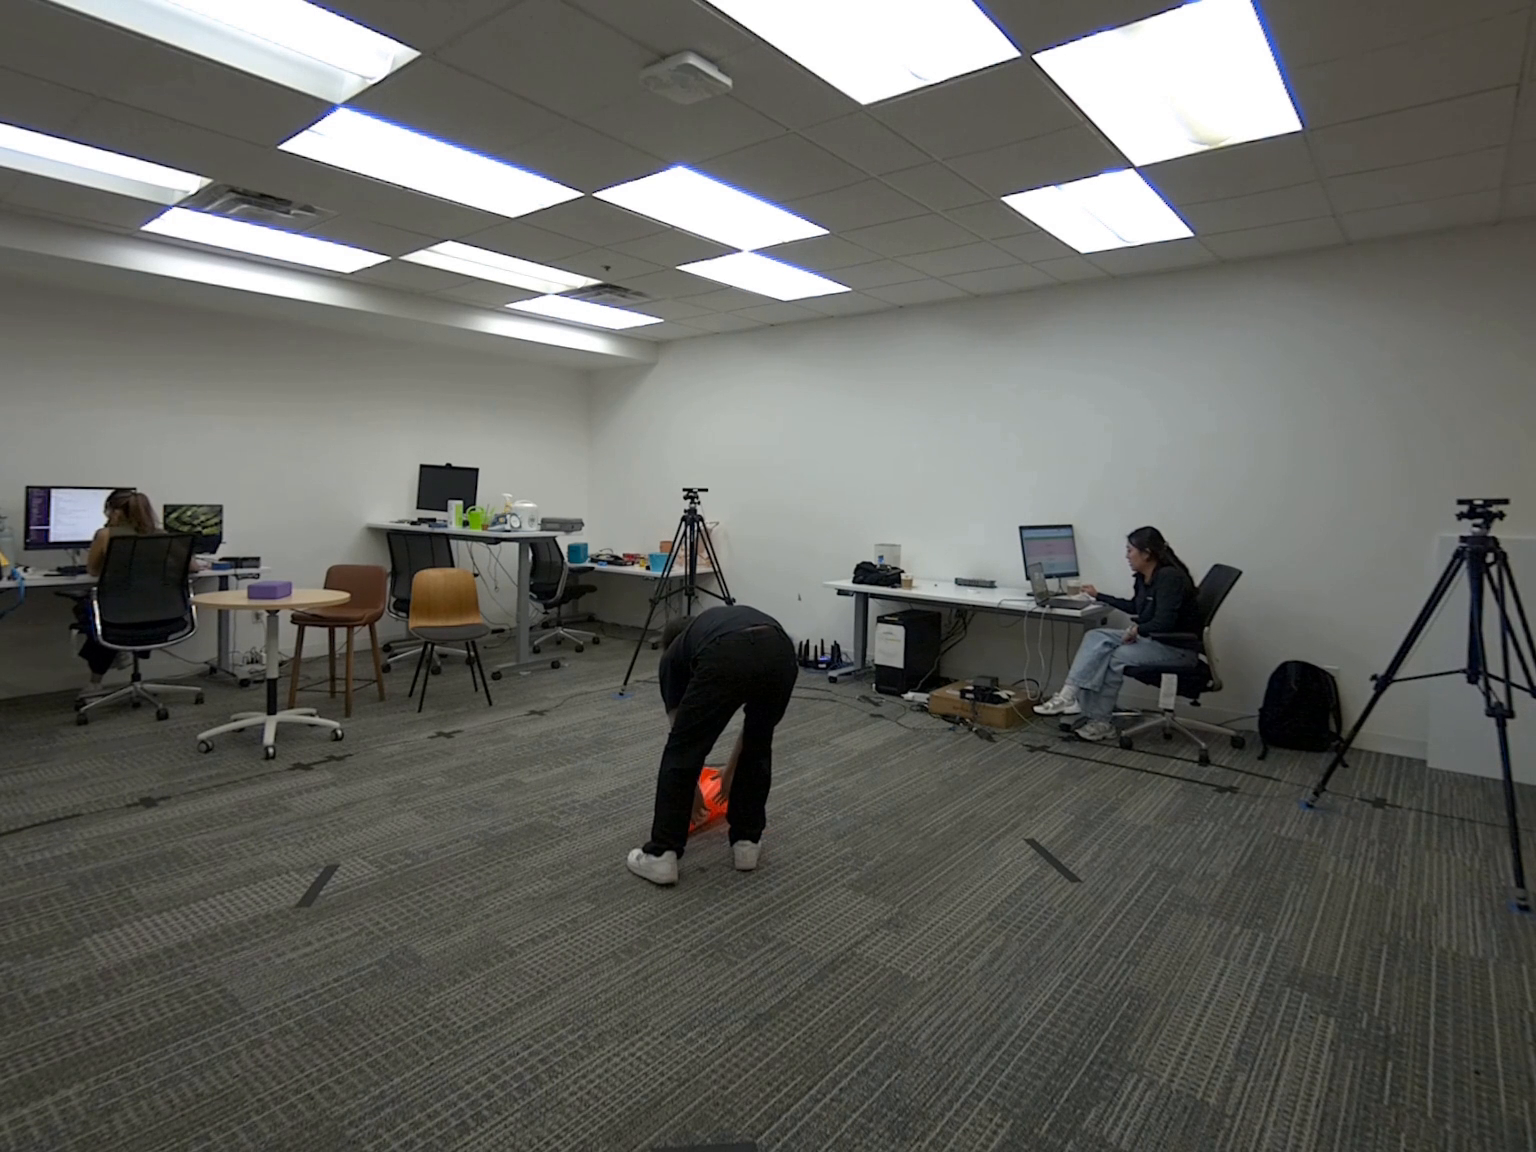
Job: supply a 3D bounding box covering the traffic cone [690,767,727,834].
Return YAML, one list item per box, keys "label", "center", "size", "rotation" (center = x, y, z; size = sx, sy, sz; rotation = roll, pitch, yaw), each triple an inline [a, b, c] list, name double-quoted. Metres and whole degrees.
- label: "traffic cone"
  center: [-0.303, 0.983, 3.498]
  size: [0.209, 0.201, 0.380]
  rotation: [5, 24, 31]
